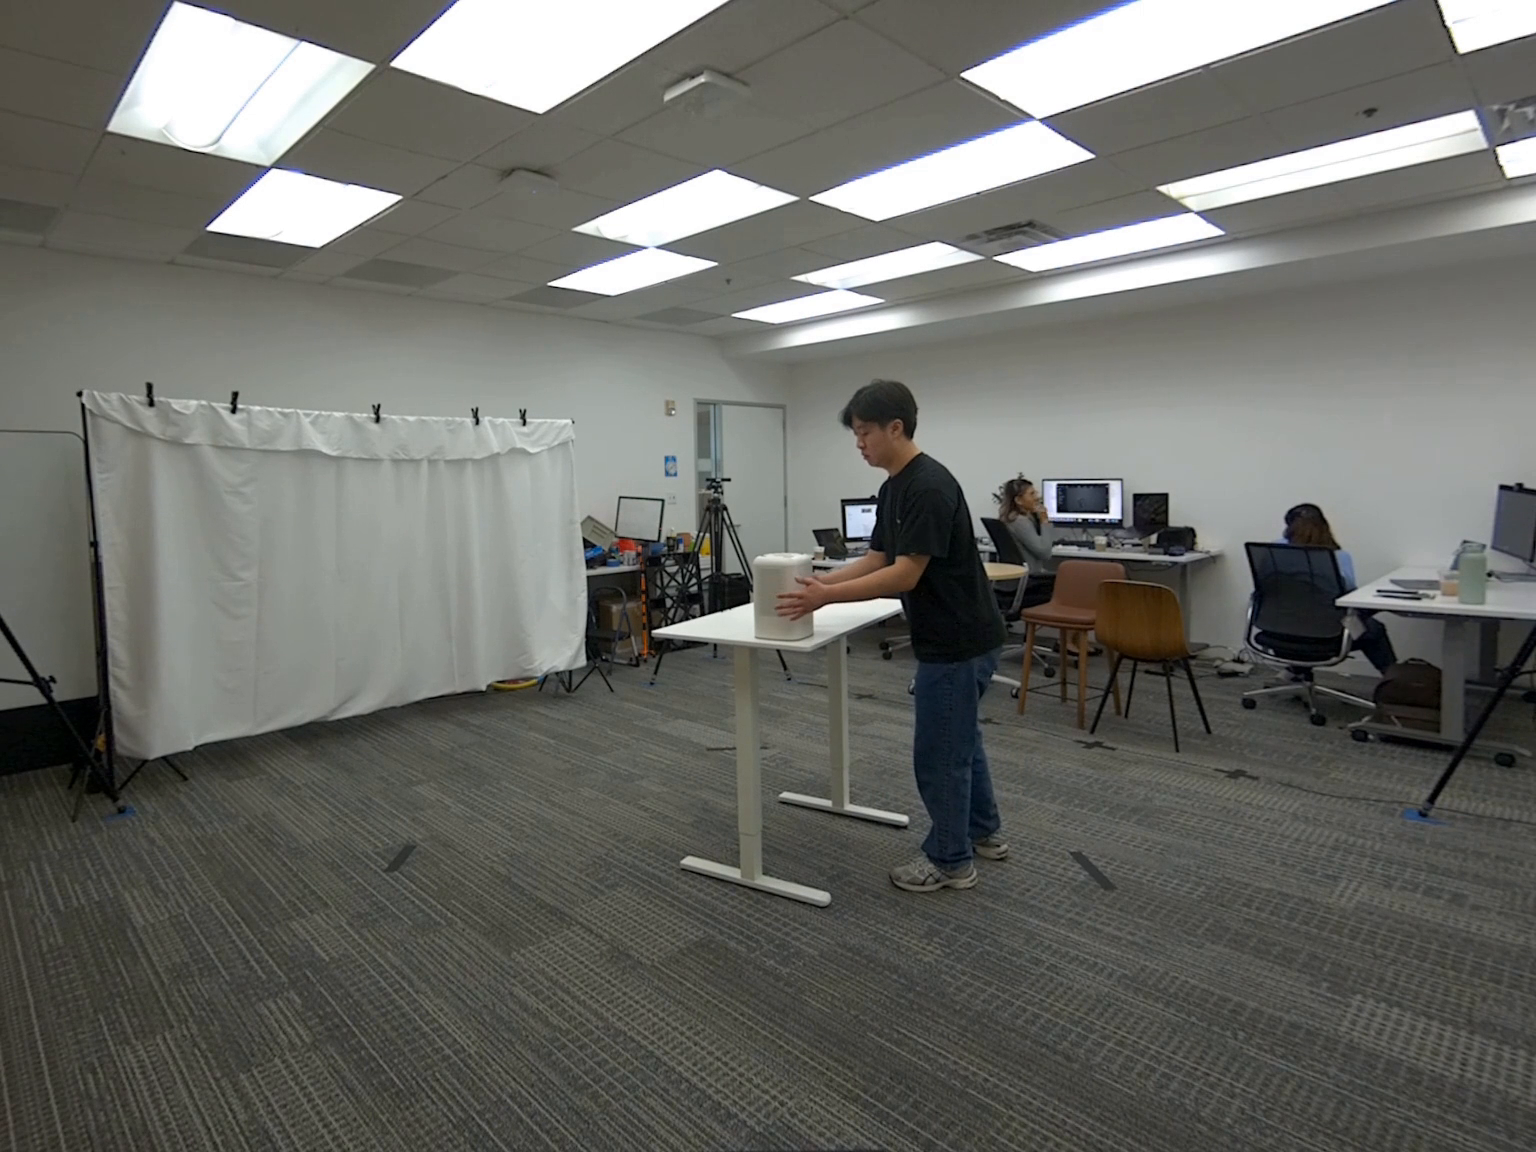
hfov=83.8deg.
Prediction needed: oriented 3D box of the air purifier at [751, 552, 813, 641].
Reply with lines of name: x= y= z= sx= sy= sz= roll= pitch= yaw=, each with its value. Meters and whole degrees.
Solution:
air purifier: x=0.058 y=0.062 z=2.784 sx=0.176 sy=0.264 sz=0.167 roll=2 pitch=6 yaw=31
